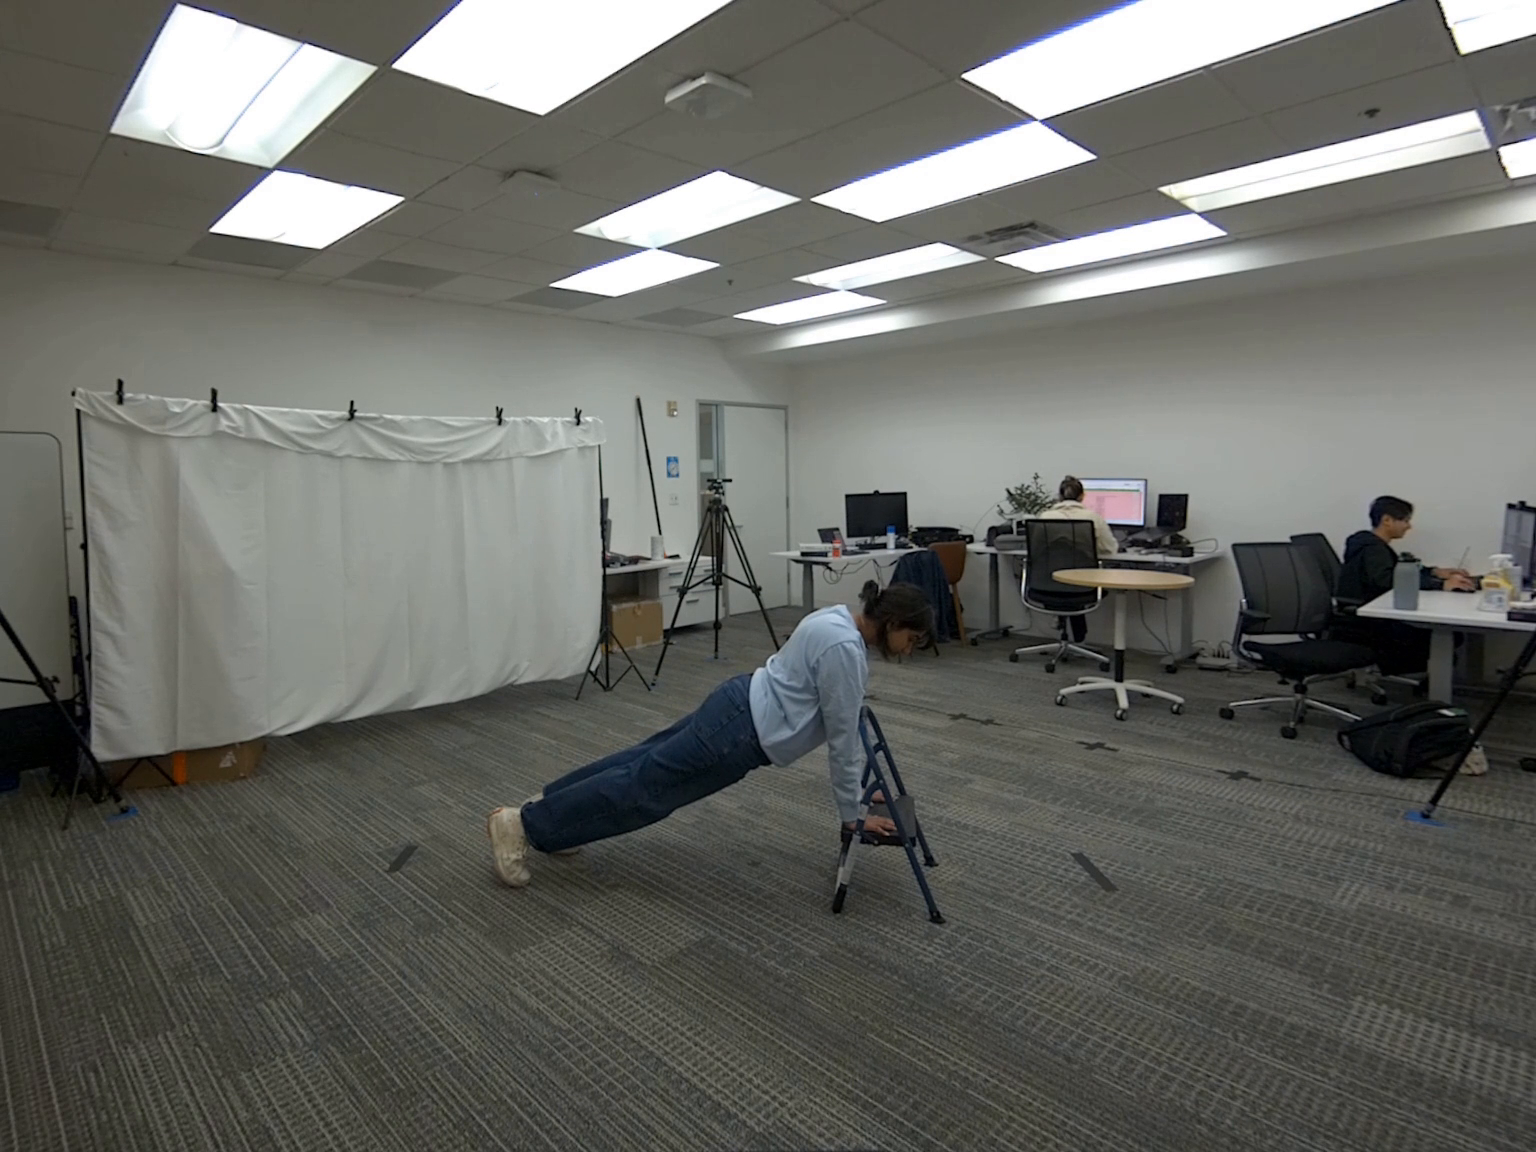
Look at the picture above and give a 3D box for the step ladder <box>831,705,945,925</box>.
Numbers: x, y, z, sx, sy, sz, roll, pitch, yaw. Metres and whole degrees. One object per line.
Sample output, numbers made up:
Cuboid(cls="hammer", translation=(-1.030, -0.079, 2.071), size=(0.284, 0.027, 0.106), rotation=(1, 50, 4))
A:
Cuboid(cls="step ladder", translation=(0.402, 0.758, 2.889), size=(0.353, 0.604, 0.428), rotation=(0, 4, 9))
